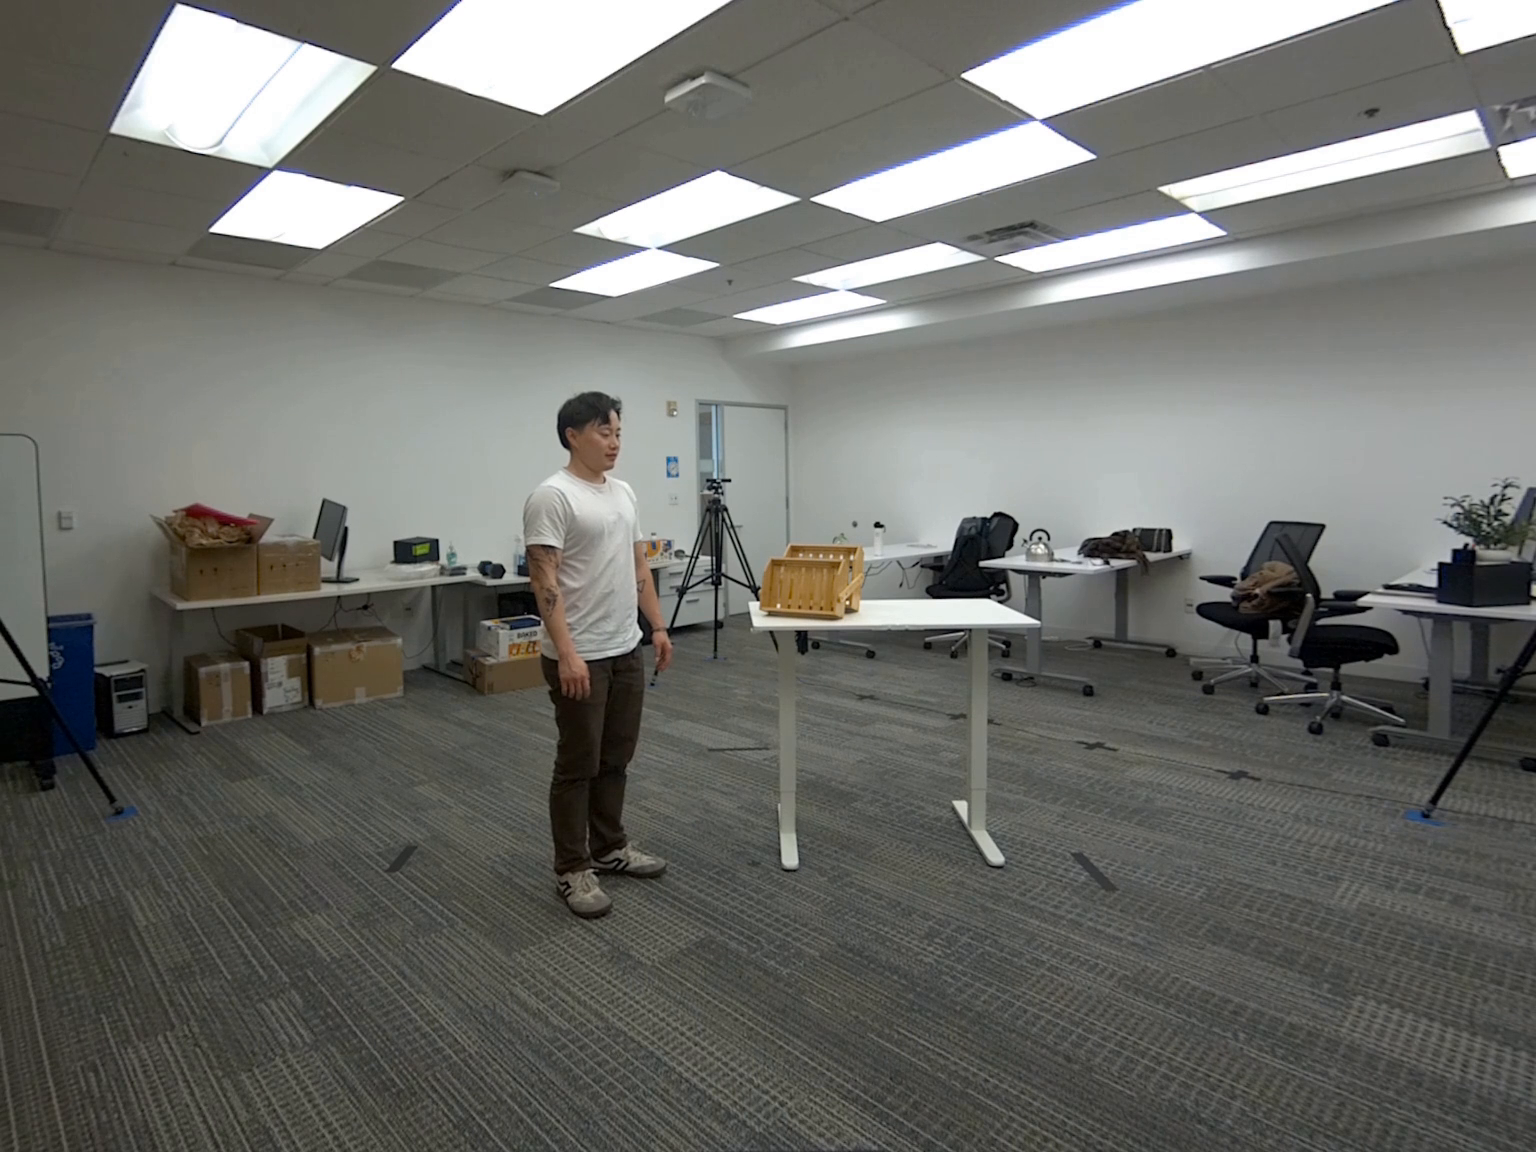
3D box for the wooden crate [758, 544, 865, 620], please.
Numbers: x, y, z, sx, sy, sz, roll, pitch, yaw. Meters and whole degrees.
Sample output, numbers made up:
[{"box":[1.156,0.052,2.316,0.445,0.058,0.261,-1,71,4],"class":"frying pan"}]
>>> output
[{"box":[0.176,0.007,3.251,0.332,0.305,0.264,1,-12,25],"class":"wooden crate"}]
